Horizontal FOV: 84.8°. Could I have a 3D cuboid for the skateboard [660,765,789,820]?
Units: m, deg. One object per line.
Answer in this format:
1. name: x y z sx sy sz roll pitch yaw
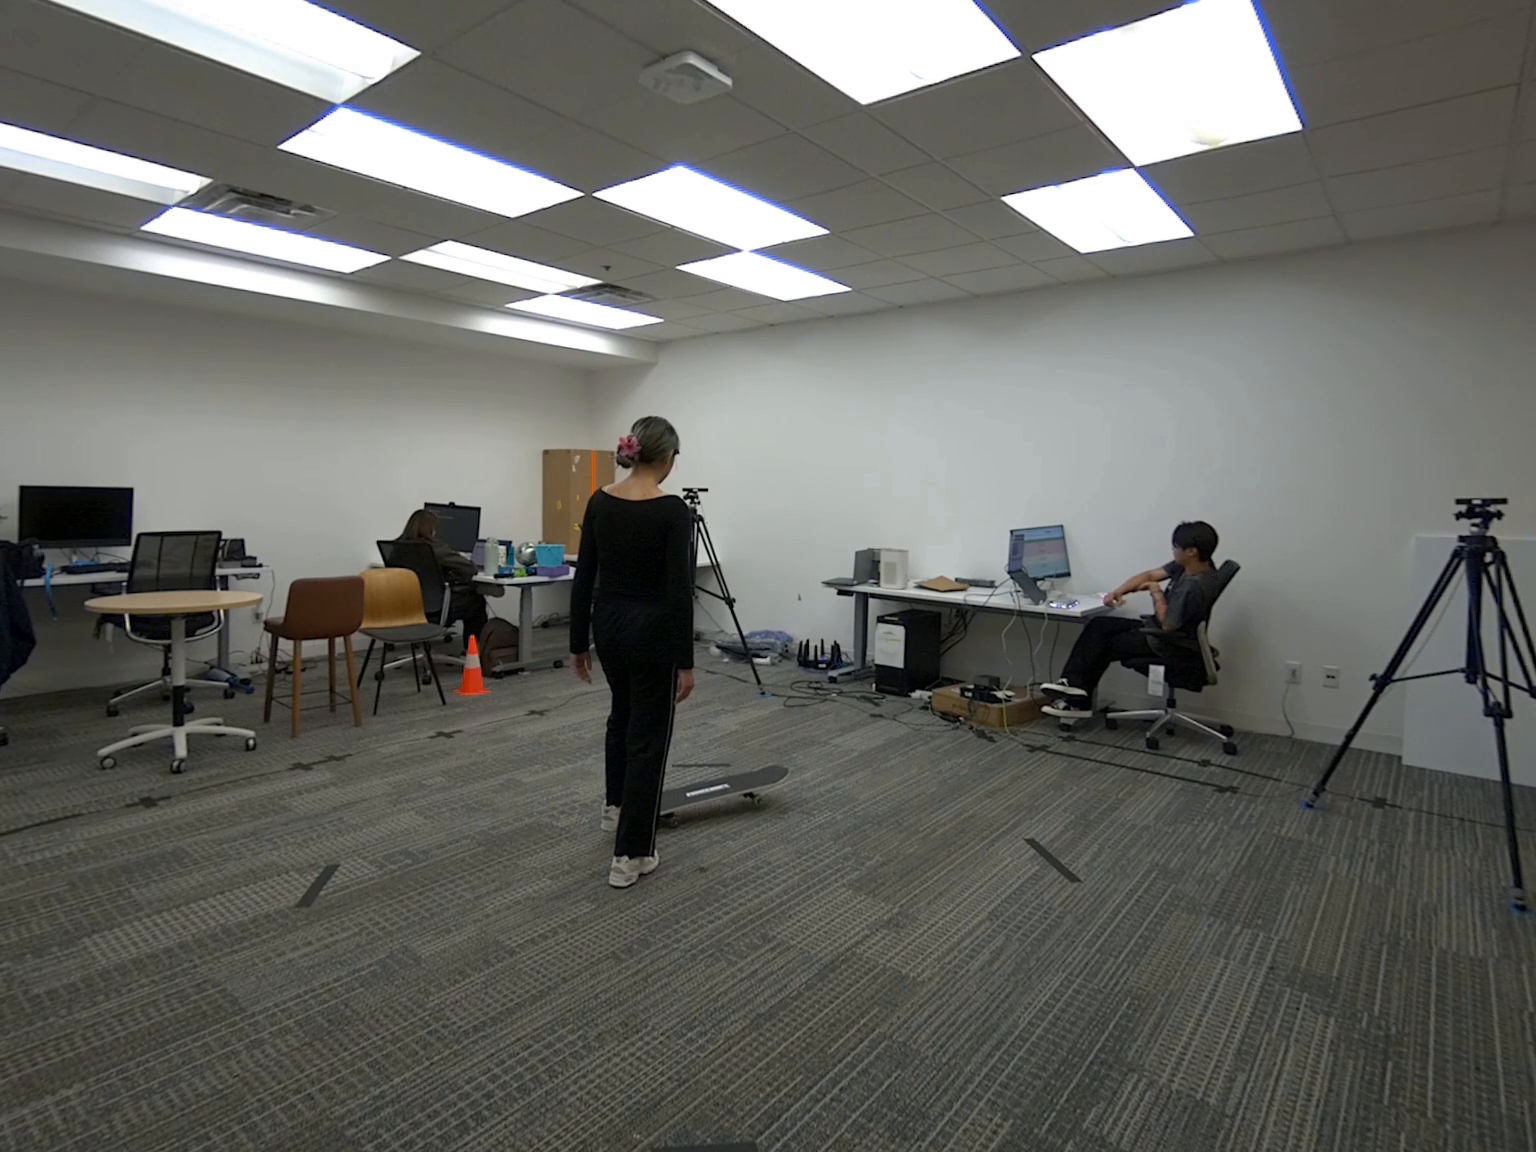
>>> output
1. skateboard: -0.267 0.950 3.650 0.767 0.109 0.199 -7 9 -27
